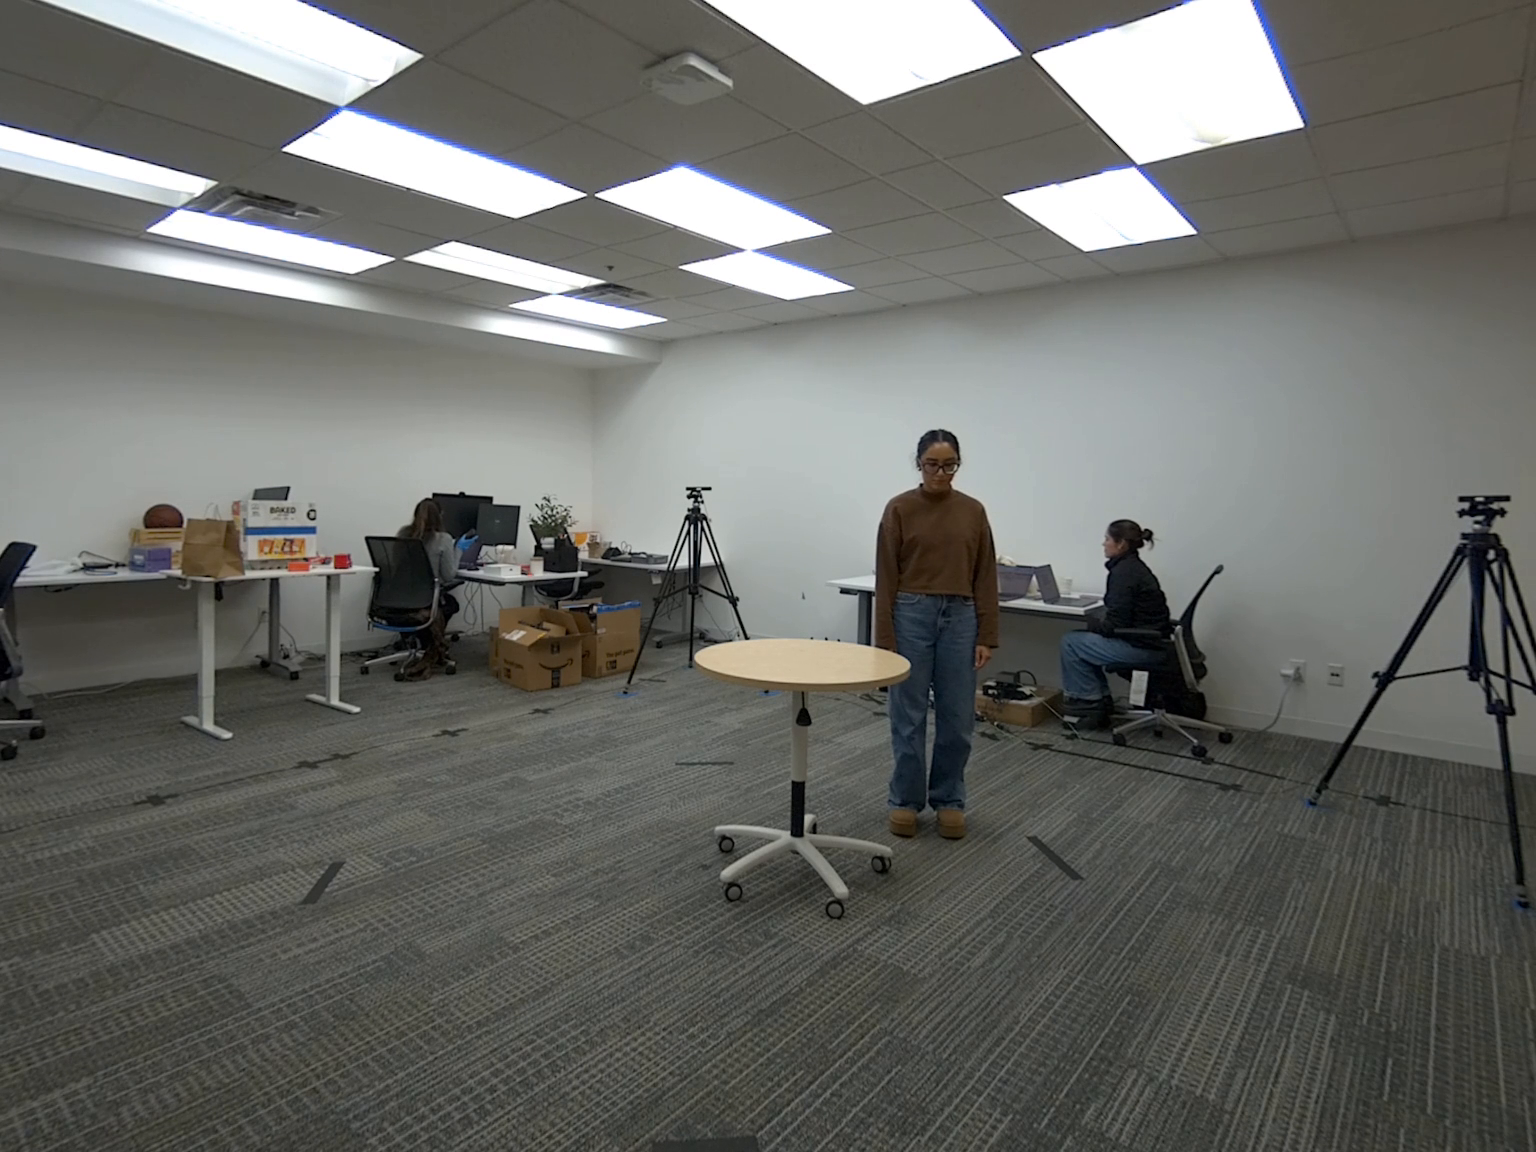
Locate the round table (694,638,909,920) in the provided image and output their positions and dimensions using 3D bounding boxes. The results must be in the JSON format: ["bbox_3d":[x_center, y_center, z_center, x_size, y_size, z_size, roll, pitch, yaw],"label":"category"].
[{"bbox_3d":[0.098,0.686,3.062,0.763,0.791,0.768,1,4,-2],"label":"round table"}]
